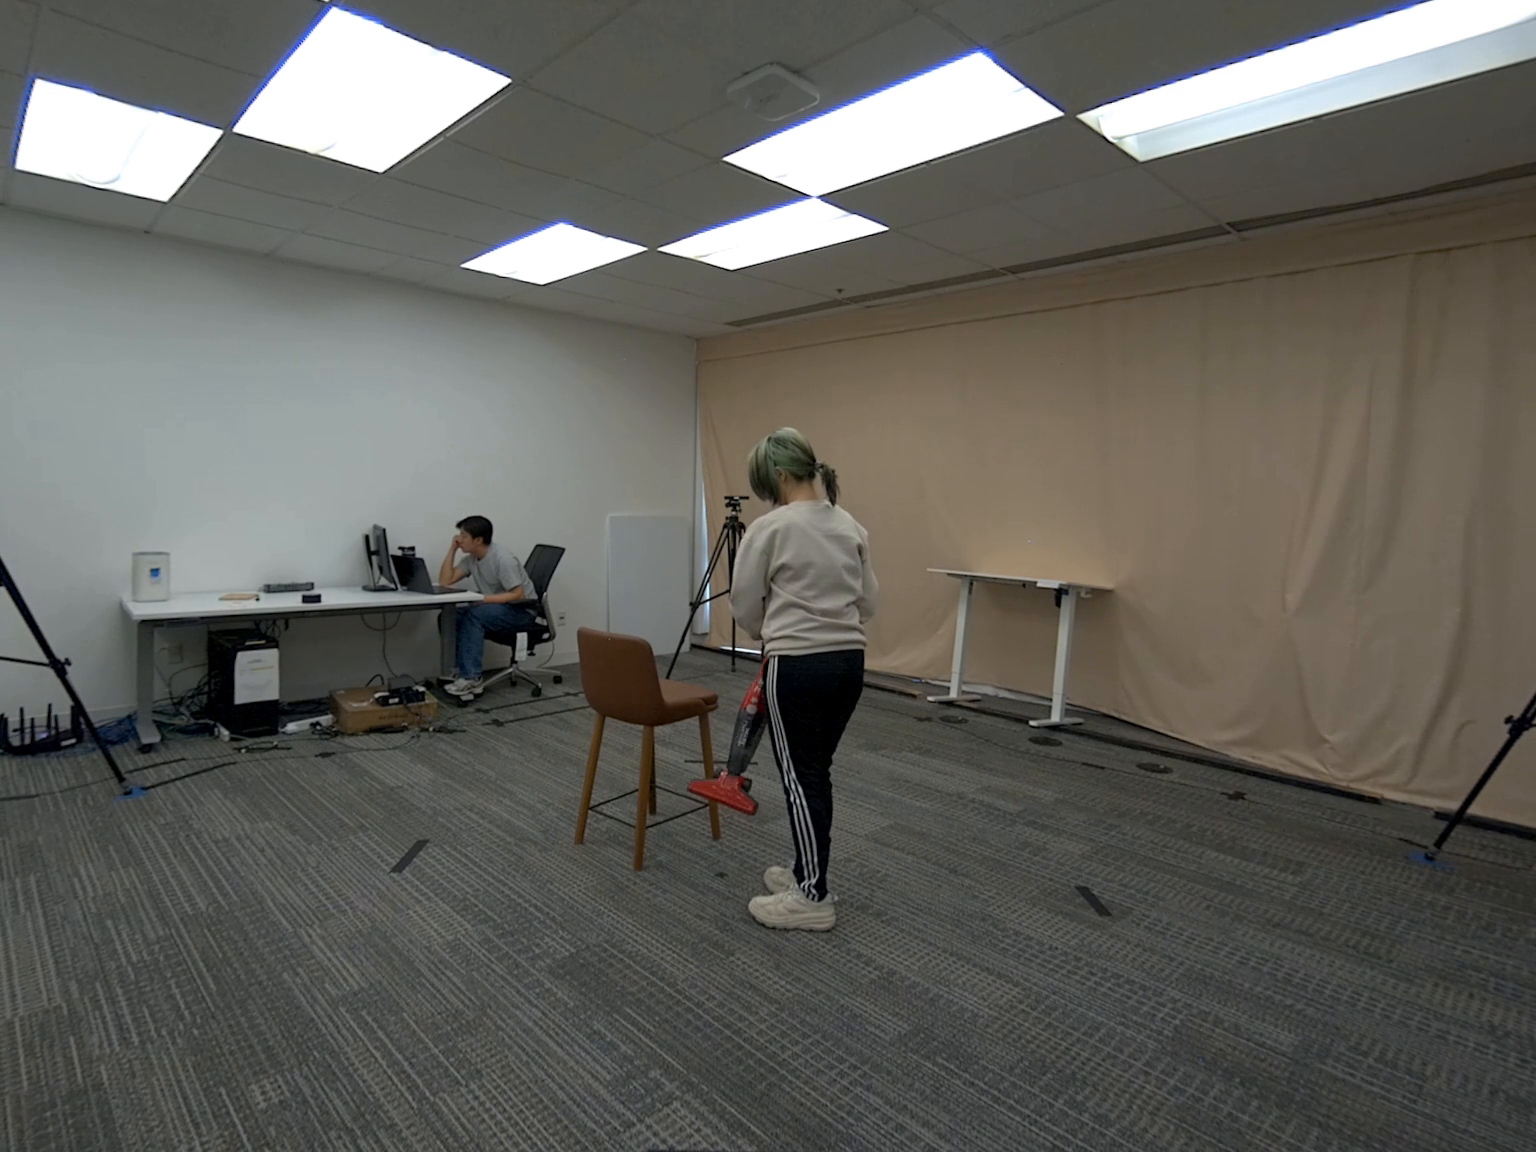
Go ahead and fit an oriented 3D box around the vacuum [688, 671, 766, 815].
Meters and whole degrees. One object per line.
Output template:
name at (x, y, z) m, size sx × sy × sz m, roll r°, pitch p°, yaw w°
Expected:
vacuum at (0.020, 0.269, 3.077) m, size 0.257 × 1.057 × 0.140 m, roll 13°, pitch -19°, yaw 18°
